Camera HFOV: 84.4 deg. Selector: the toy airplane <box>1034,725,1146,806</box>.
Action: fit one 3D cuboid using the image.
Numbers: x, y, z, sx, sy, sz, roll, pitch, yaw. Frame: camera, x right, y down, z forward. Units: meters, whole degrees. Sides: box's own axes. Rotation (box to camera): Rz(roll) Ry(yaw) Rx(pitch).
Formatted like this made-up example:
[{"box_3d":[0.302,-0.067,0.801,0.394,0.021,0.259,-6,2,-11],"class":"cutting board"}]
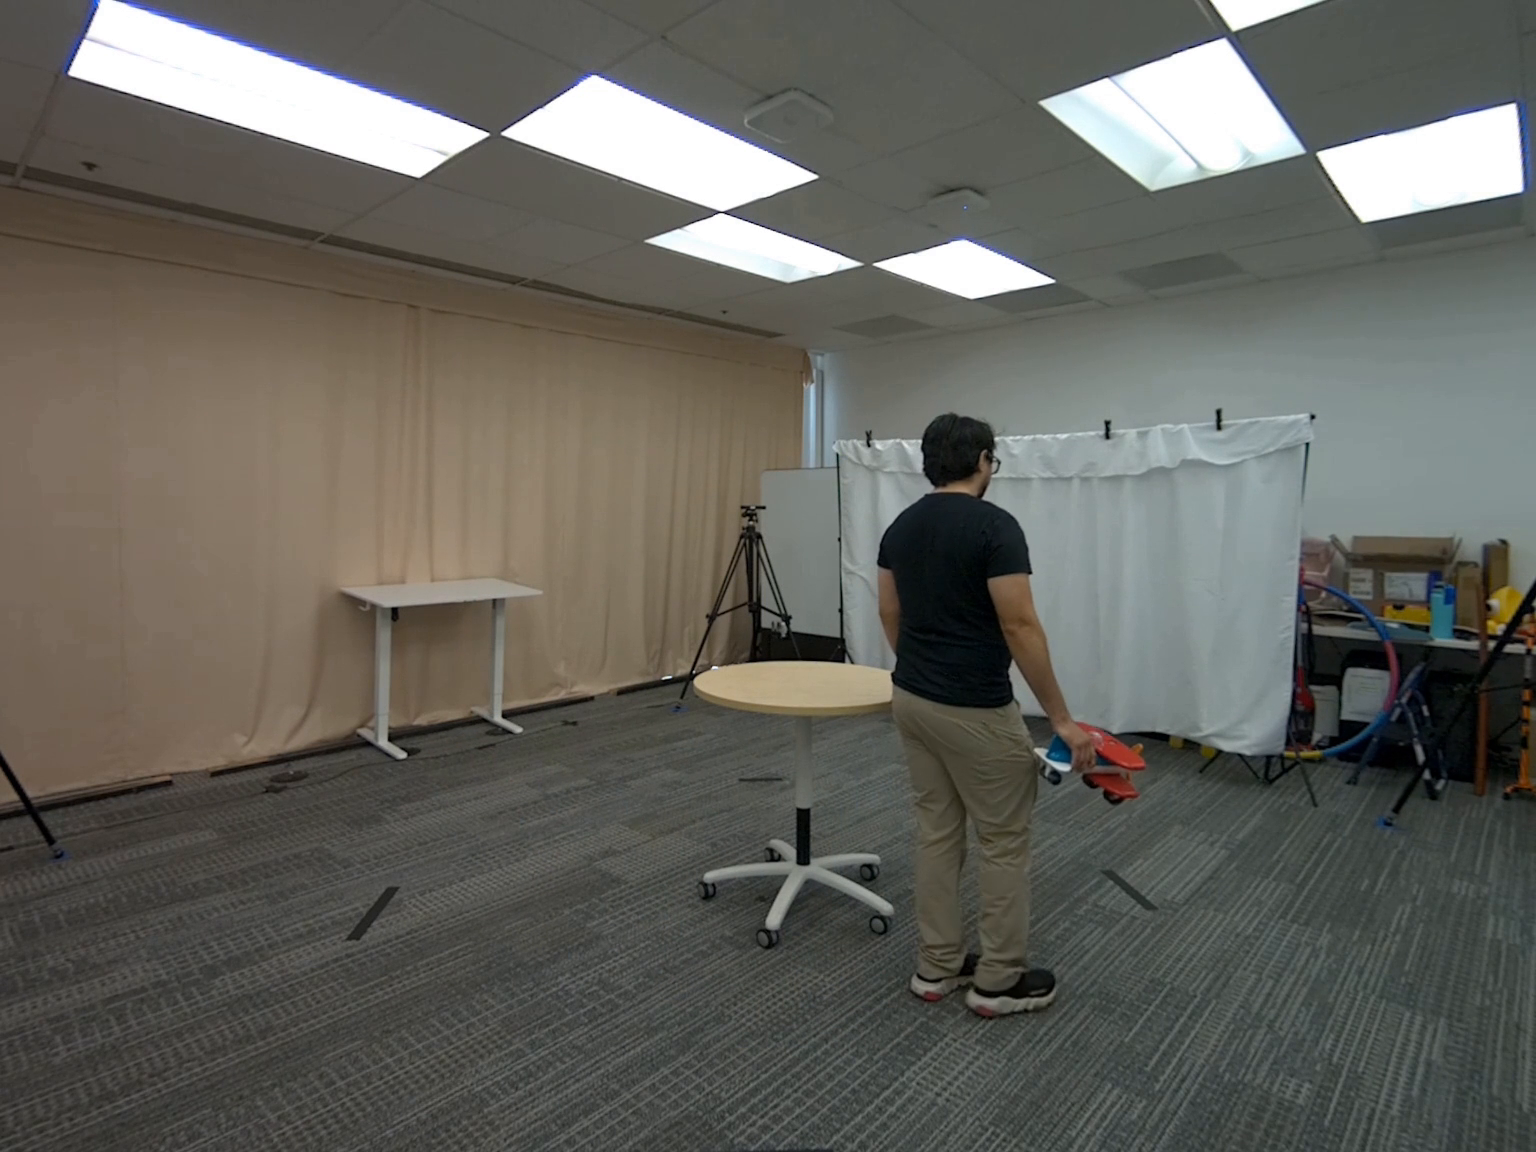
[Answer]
[{"box_3d":[0.859,0.501,2.193,0.260,0.156,0.250,28,12,41],"class":"toy airplane"}]
